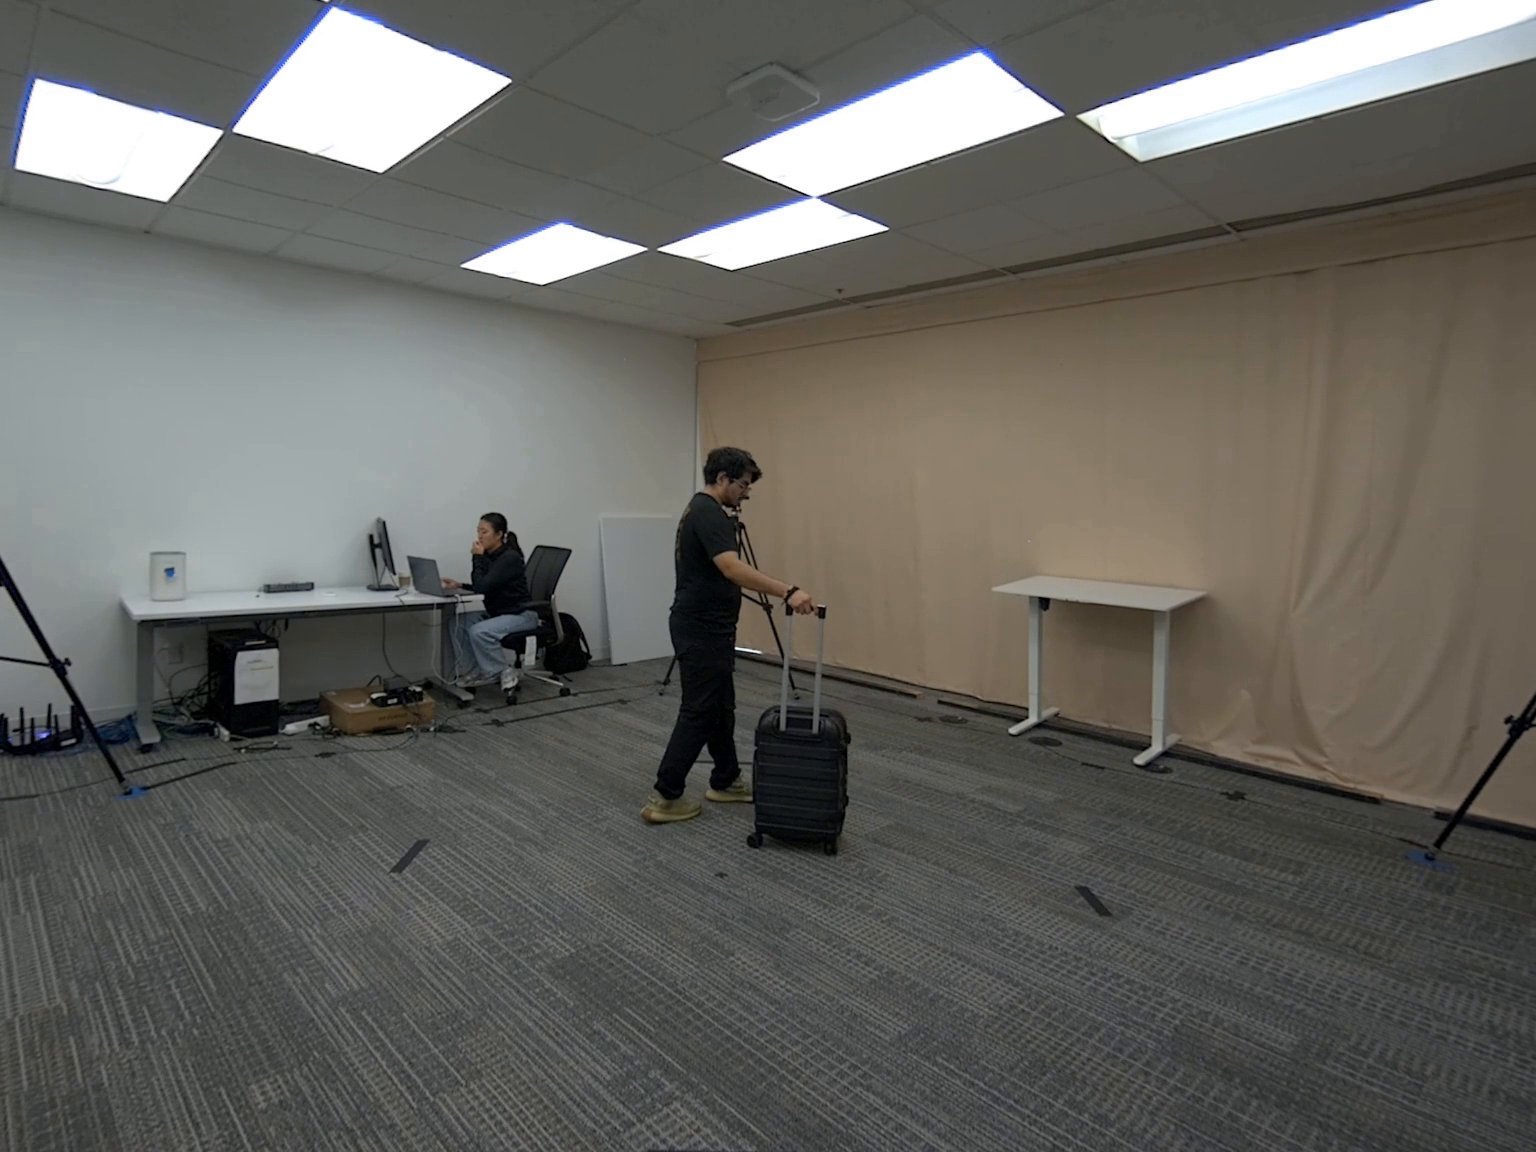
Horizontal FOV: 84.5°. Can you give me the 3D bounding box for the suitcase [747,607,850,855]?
[{"bbox_3d":[0.132,0.606,3.406,0.387,0.978,0.255,2,1,10],"label":"suitcase"}]
